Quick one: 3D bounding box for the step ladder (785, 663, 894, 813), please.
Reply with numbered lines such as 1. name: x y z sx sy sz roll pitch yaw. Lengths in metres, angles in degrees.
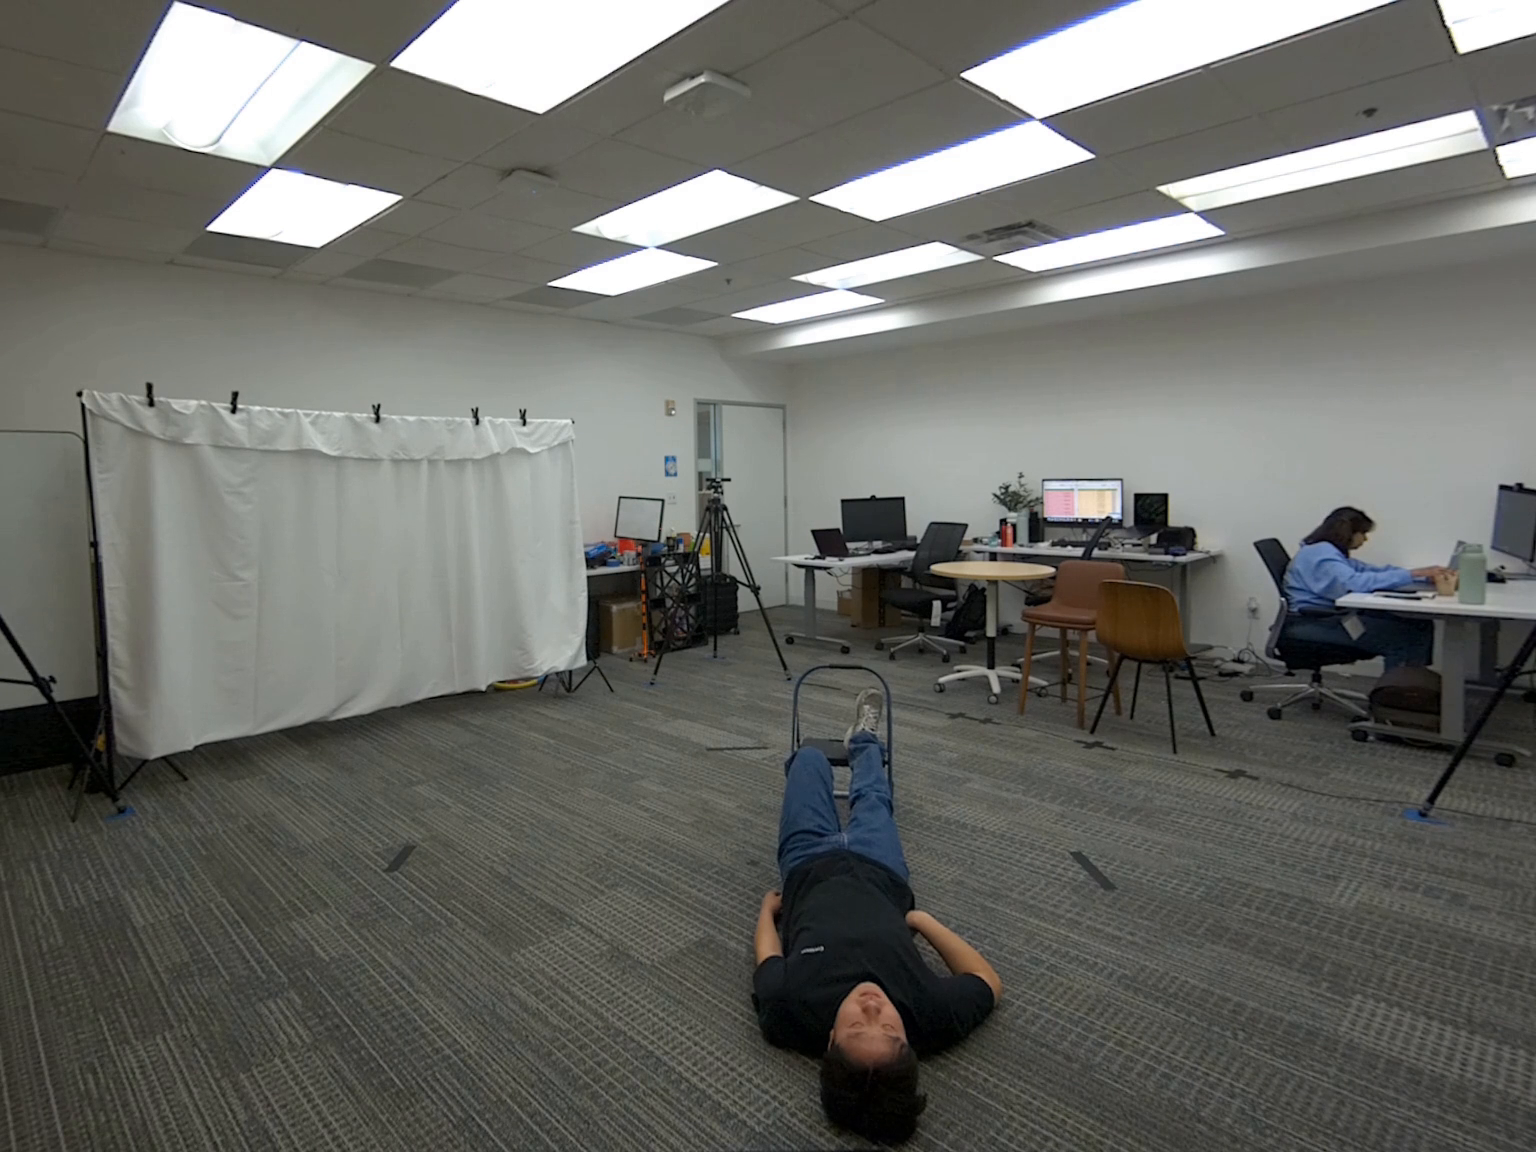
1. step ladder: 0.310 0.685 3.551 0.435 0.604 0.347 0 4 9
